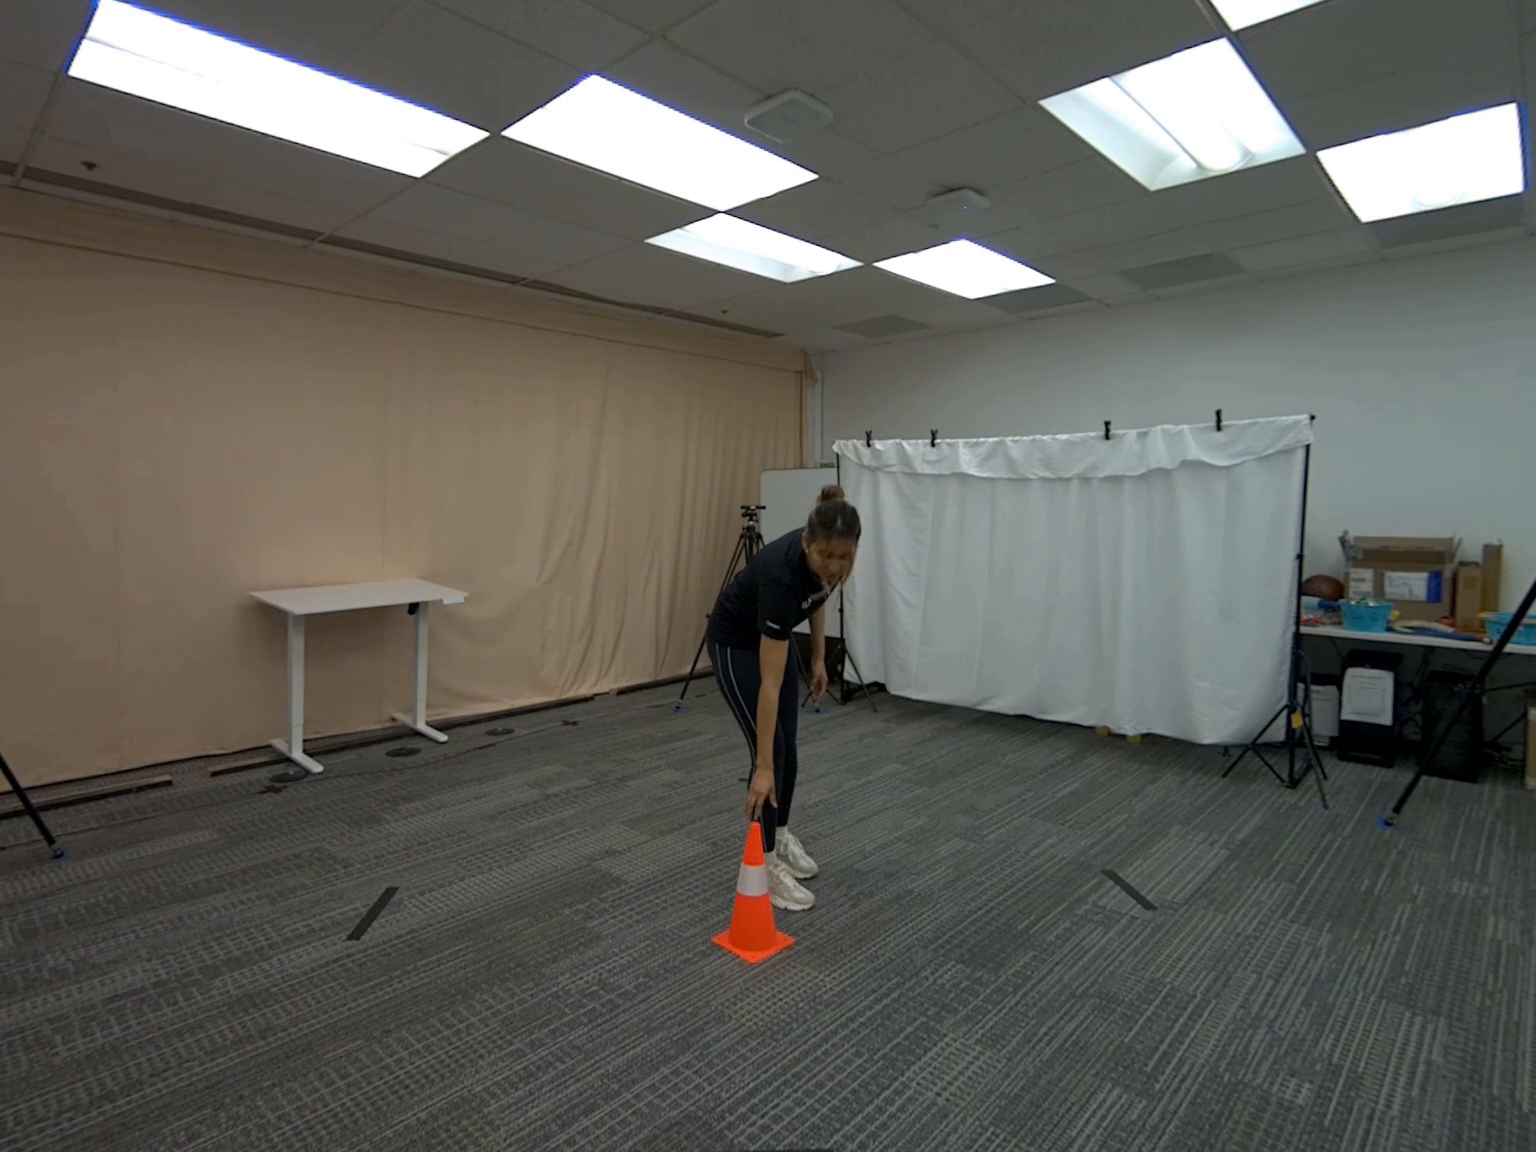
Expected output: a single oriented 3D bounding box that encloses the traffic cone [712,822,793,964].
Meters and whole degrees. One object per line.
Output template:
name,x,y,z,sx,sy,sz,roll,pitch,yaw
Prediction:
traffic cone,-0.044,0.984,2.684,0.197,0.383,0.211,-2,4,-36
